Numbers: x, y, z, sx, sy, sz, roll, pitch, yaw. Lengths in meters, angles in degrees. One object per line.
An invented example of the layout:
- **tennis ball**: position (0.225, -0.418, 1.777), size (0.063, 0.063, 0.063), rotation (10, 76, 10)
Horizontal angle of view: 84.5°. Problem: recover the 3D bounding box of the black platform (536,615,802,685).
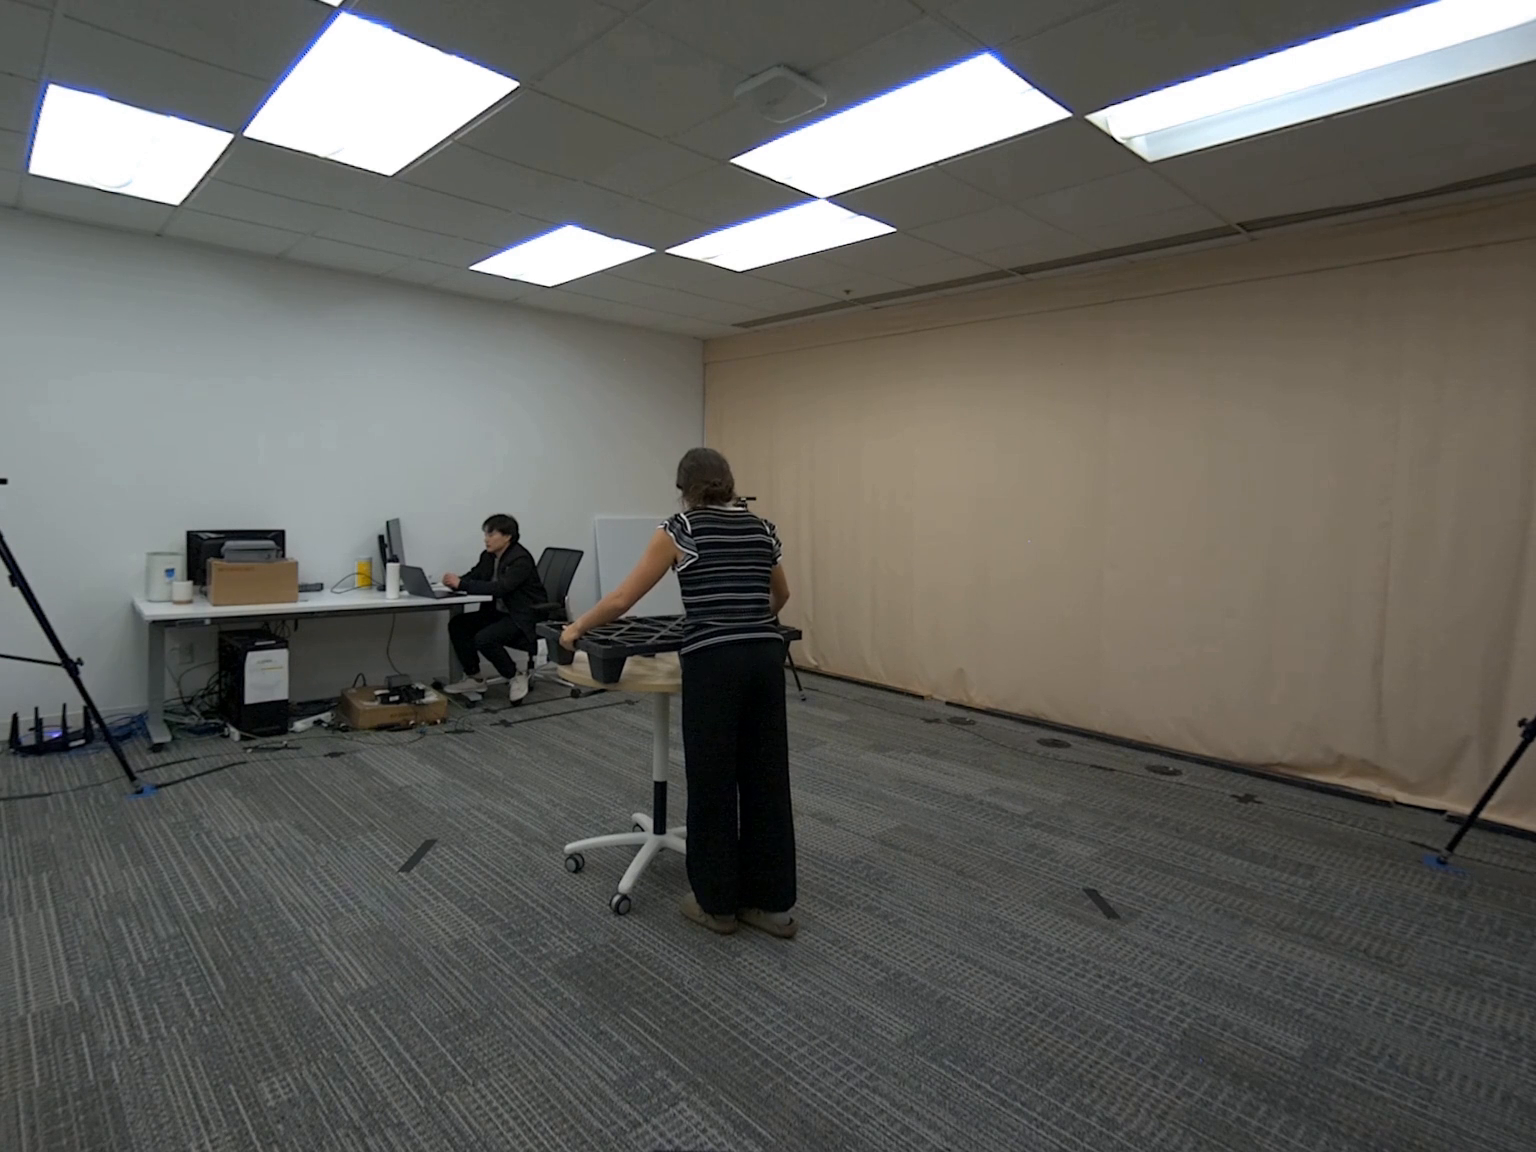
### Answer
- **black platform**: position (-0.375, 0.255, 3.083), size (0.788, 0.143, 0.620), rotation (-2, 5, -35)
